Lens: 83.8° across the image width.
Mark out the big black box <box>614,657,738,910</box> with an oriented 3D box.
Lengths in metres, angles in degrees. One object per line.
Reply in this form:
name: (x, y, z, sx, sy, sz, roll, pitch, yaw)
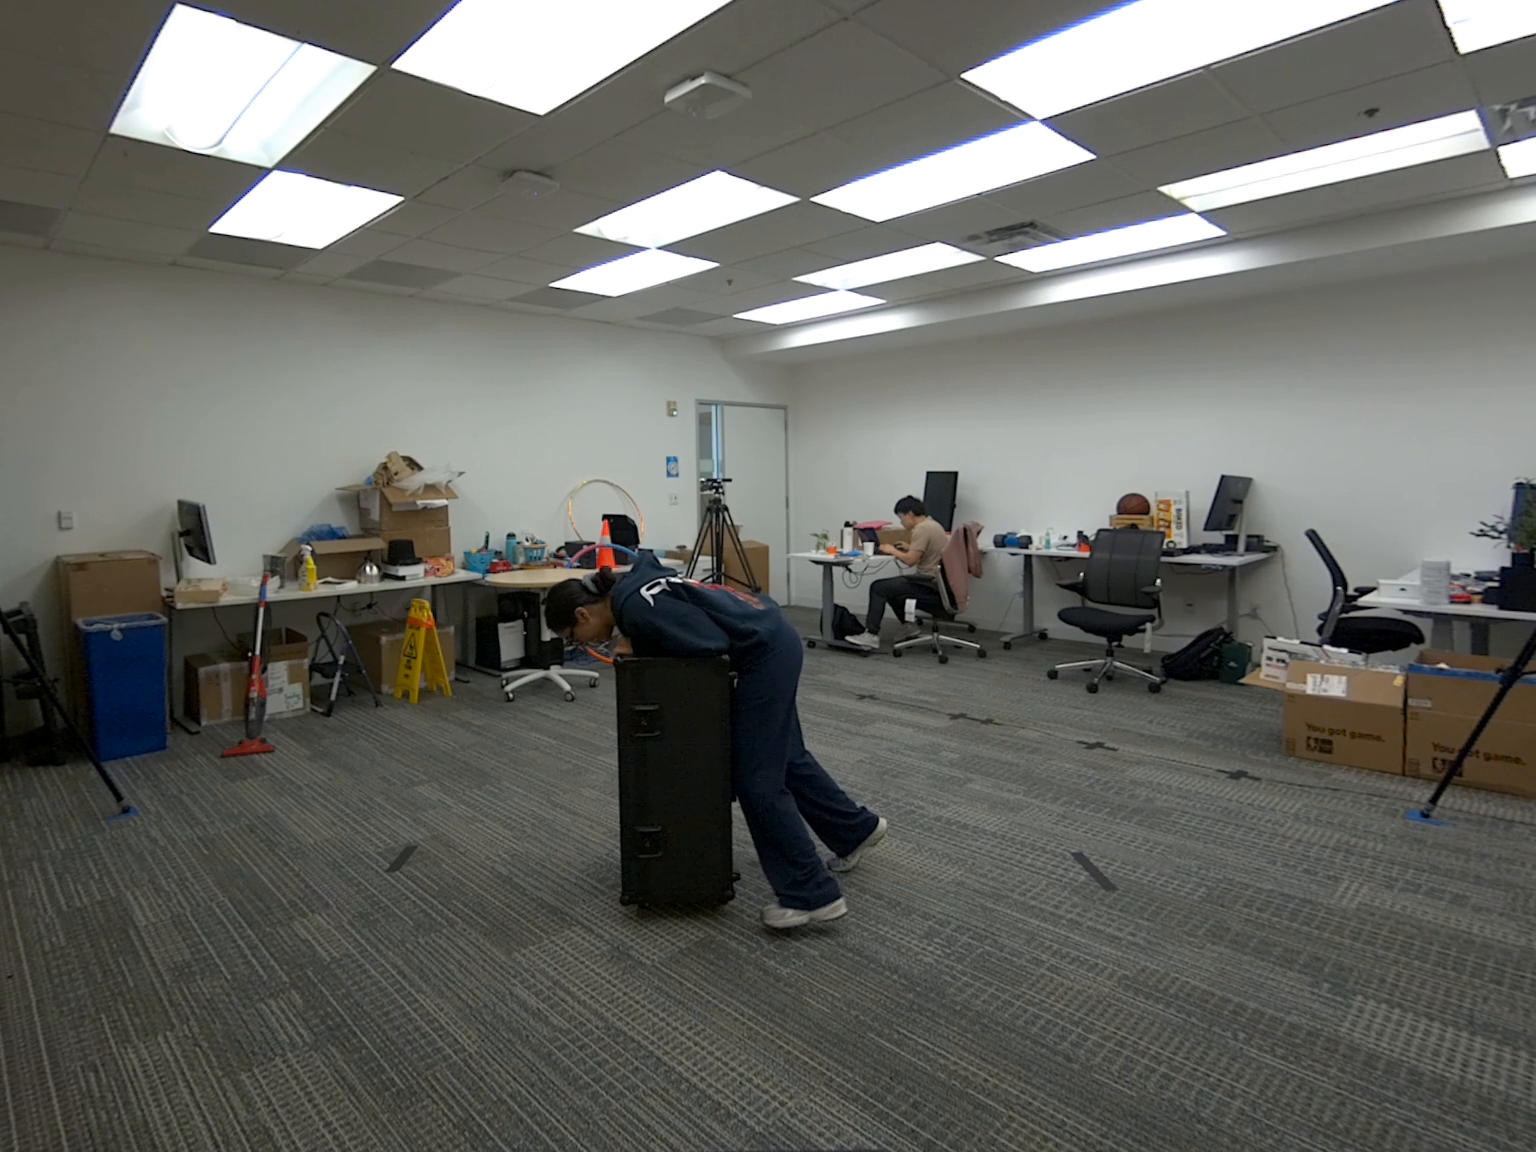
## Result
big black box: (-0.301, 0.648, 2.909, 0.395, 0.858, 0.525, -1, 4, -5)
